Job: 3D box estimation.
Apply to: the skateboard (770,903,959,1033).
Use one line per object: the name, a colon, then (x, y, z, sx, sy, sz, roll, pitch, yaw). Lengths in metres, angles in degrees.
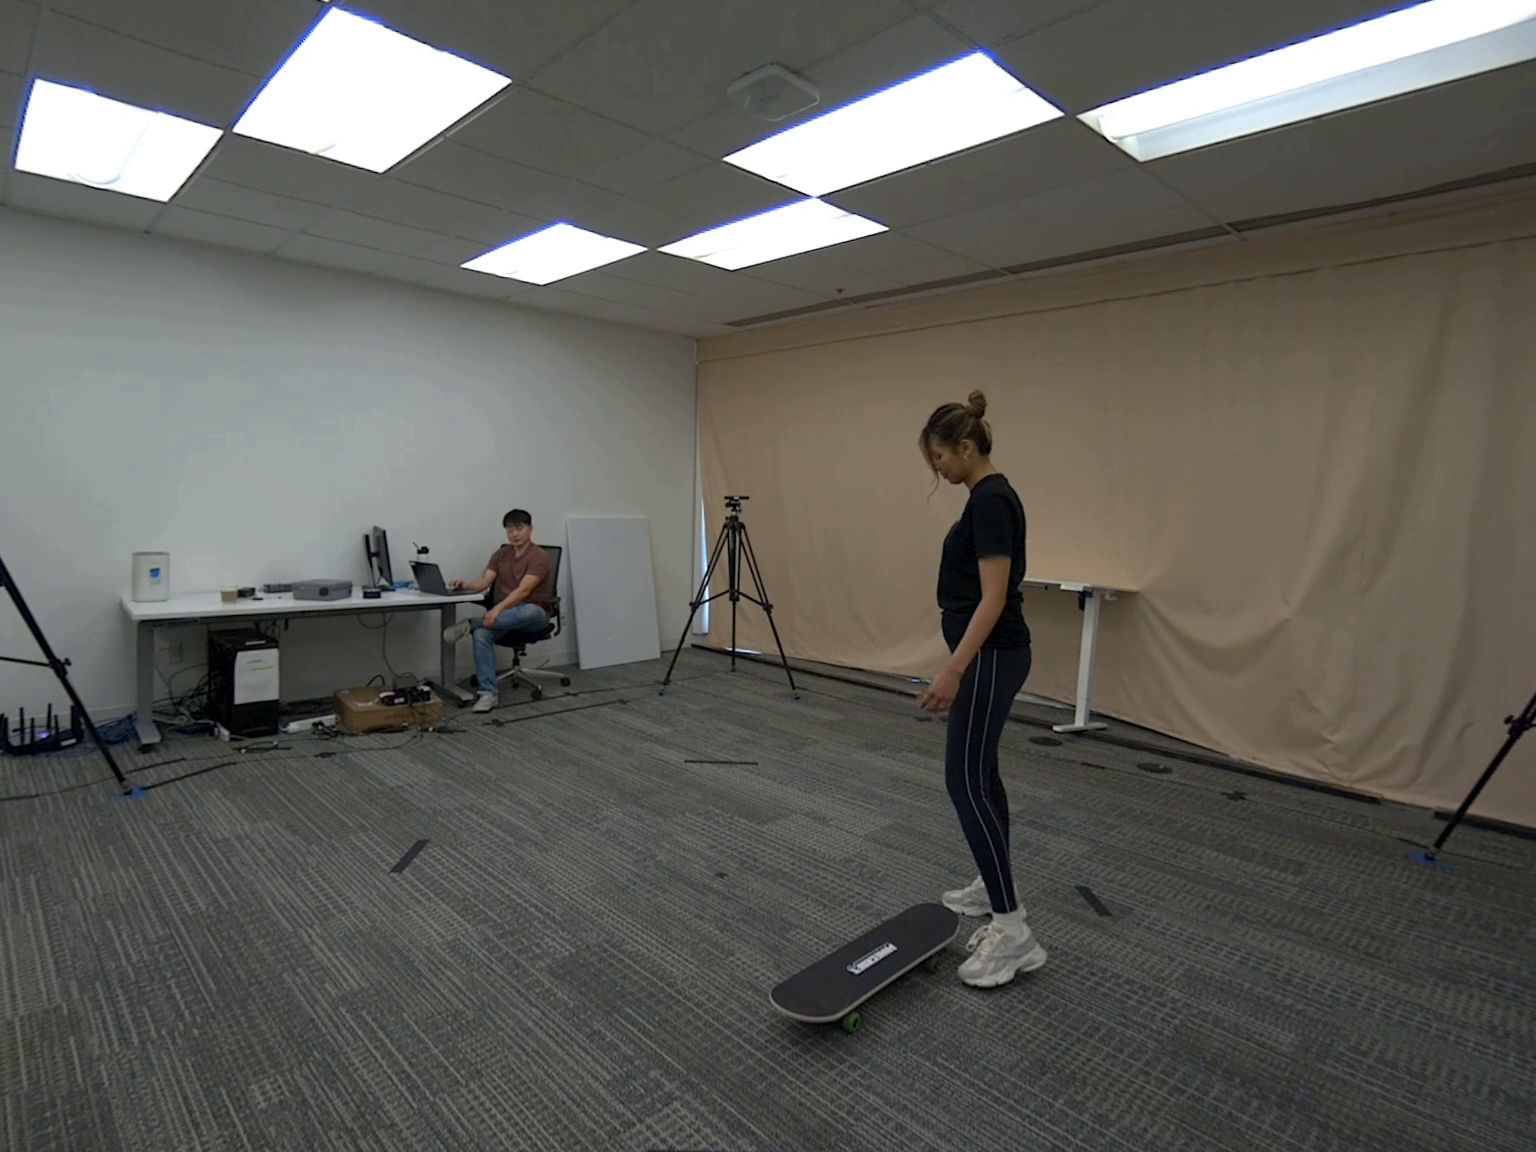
skateboard: (0.292, 1.122, 2.398, 0.198, 0.110, 0.768, 6, 7, 43)
